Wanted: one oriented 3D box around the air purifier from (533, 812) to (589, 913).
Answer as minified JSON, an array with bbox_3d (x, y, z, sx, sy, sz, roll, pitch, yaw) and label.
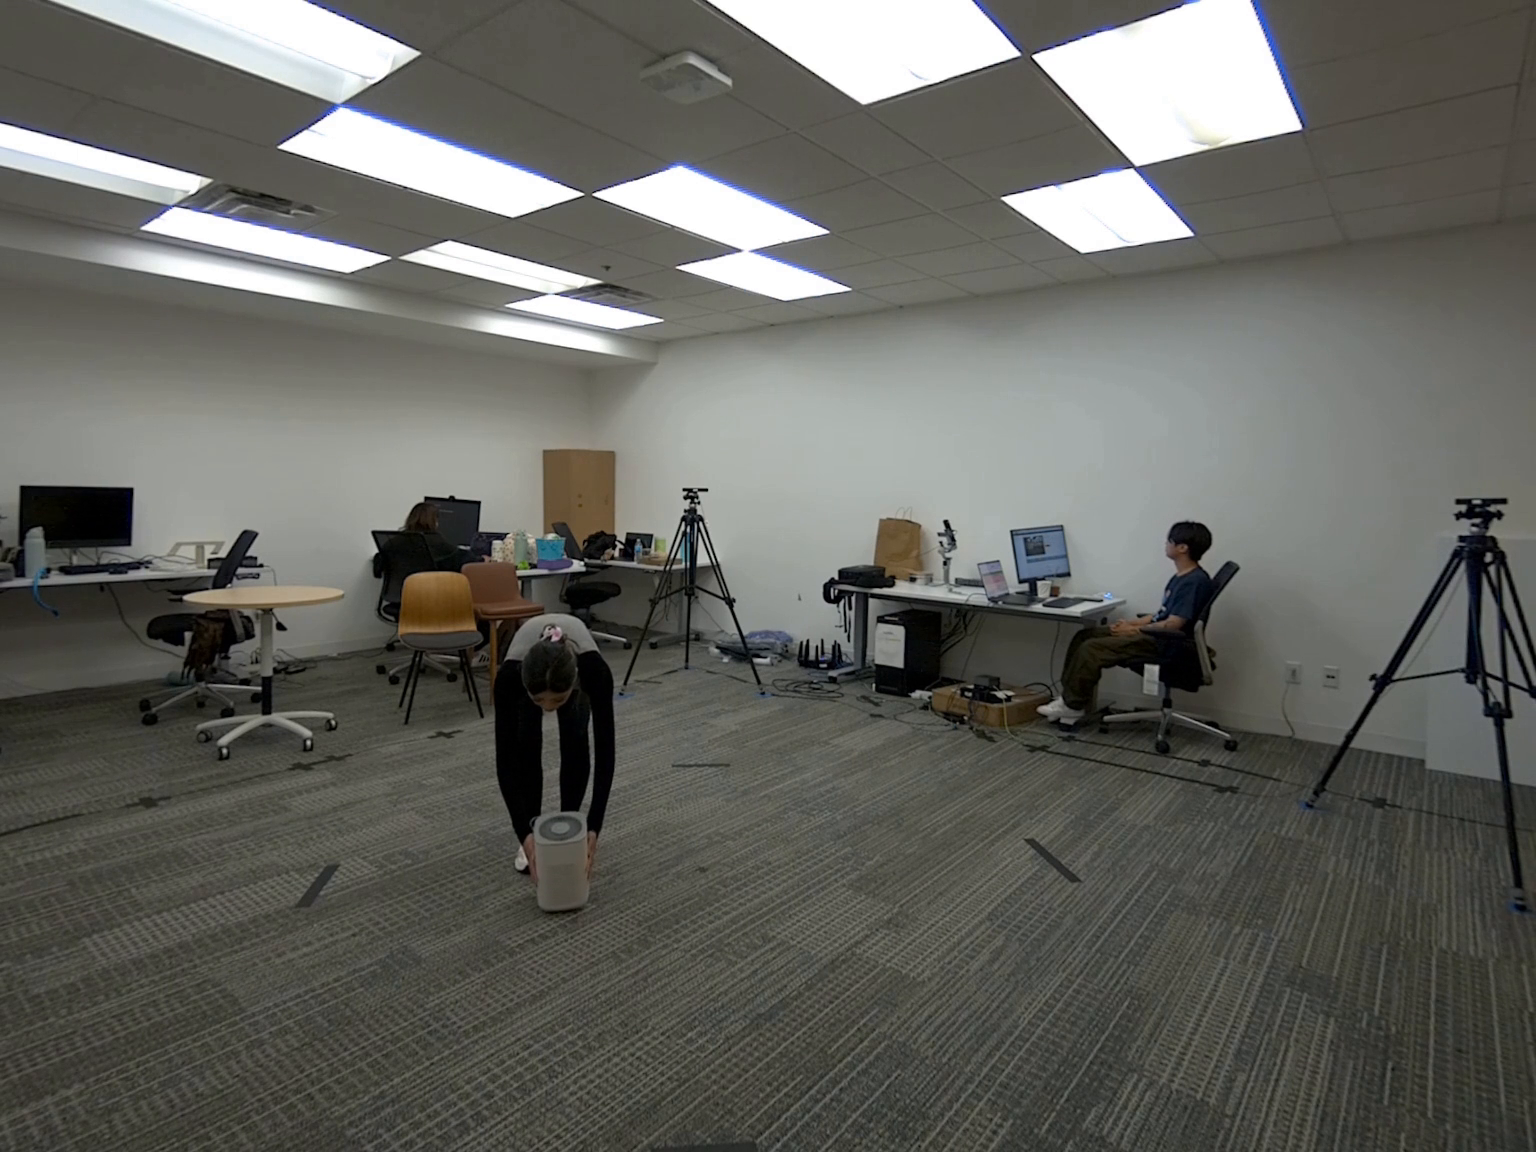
[{"bbox_3d":[-0.691,0.939,2.810,0.169,0.263,0.175,-3,11,-16],"label":"air purifier"}]
